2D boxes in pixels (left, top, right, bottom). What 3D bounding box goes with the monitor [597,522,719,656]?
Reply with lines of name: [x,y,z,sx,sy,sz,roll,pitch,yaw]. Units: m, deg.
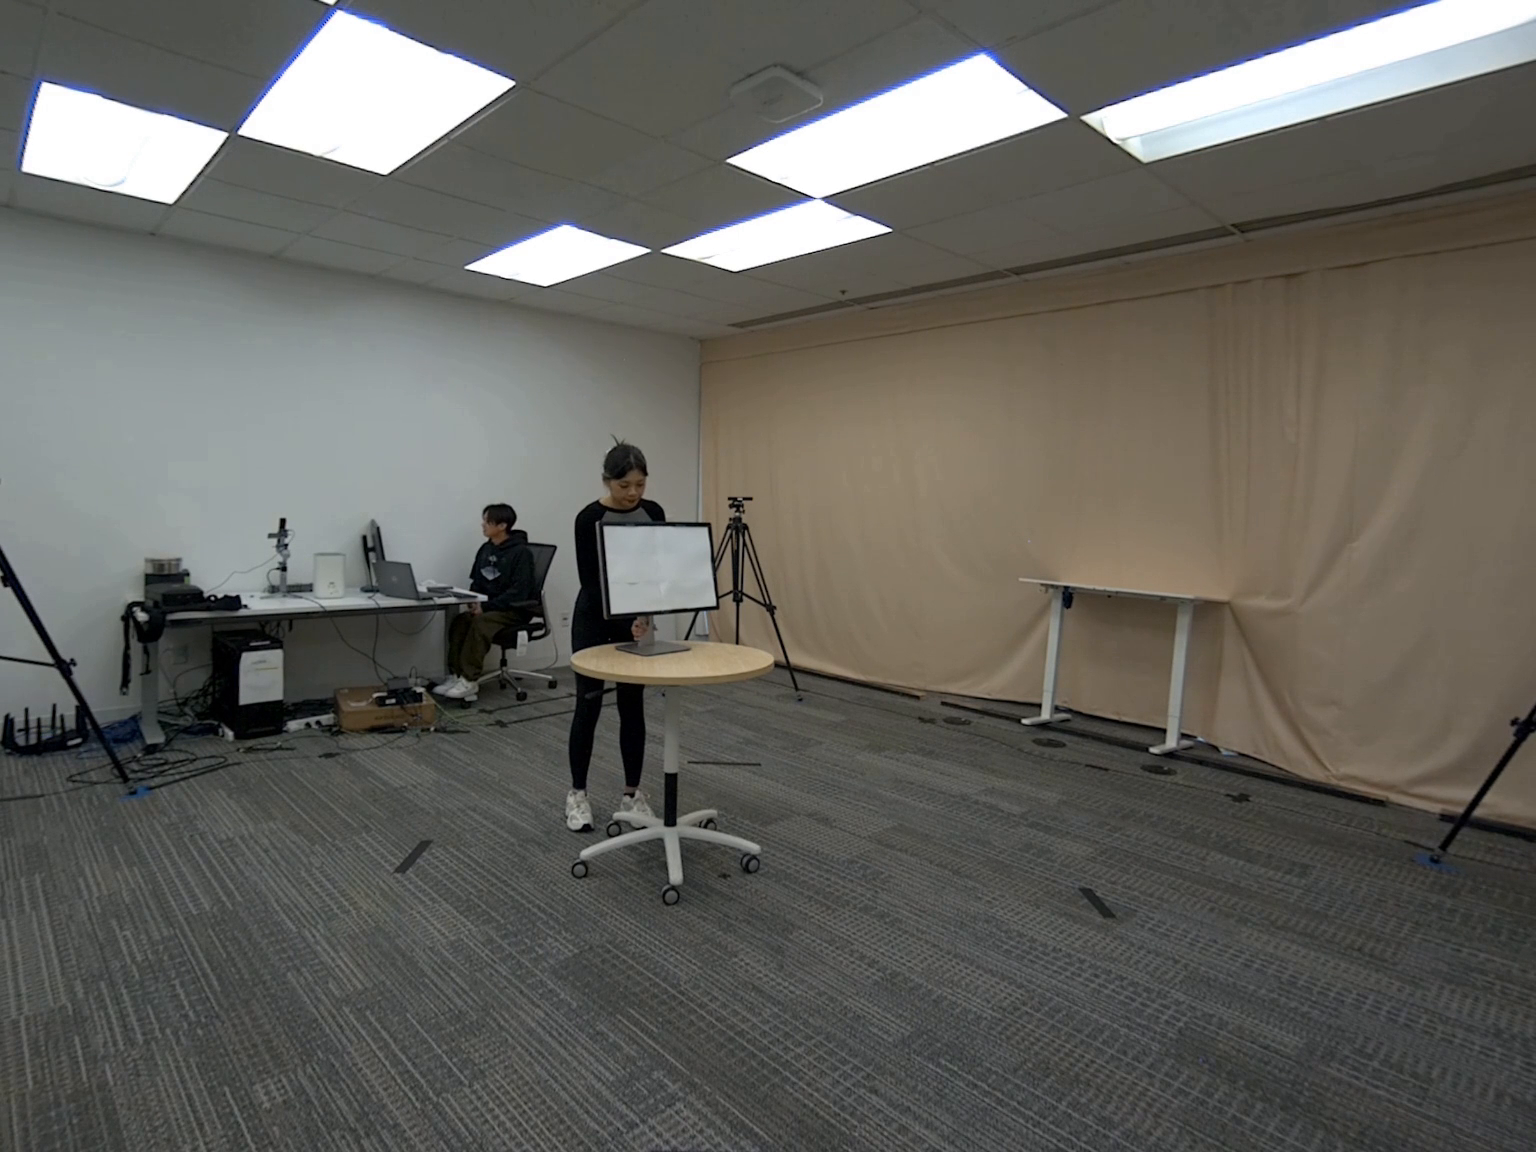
monitor: [-0.458,0.047,3.328,0.192,0.521,0.527,8,7,43]
